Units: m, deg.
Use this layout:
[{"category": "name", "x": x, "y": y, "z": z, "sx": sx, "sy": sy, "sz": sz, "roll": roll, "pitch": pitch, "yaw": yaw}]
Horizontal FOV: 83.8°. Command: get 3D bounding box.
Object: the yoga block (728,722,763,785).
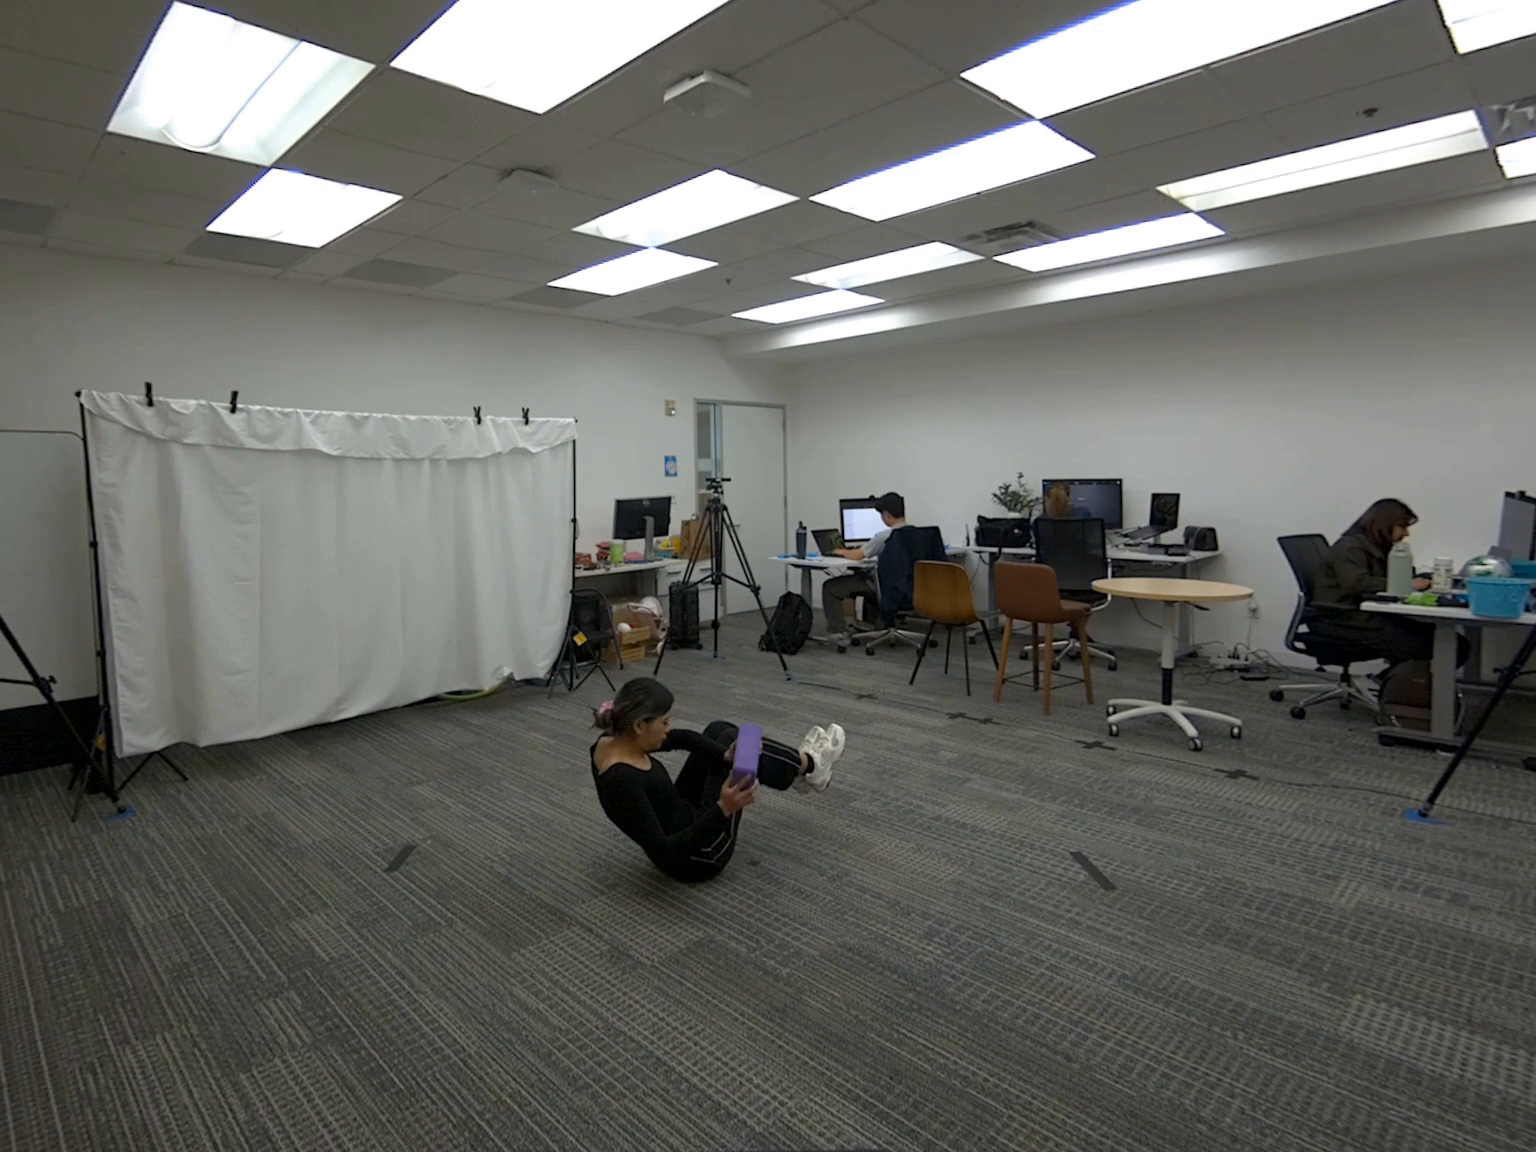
[{"category": "yoga block", "x": -0.082, "y": 0.613, "z": 2.809, "sx": 0.076, "sy": 0.146, "sz": 0.234, "roll": 8, "pitch": 29, "yaw": -2}]
